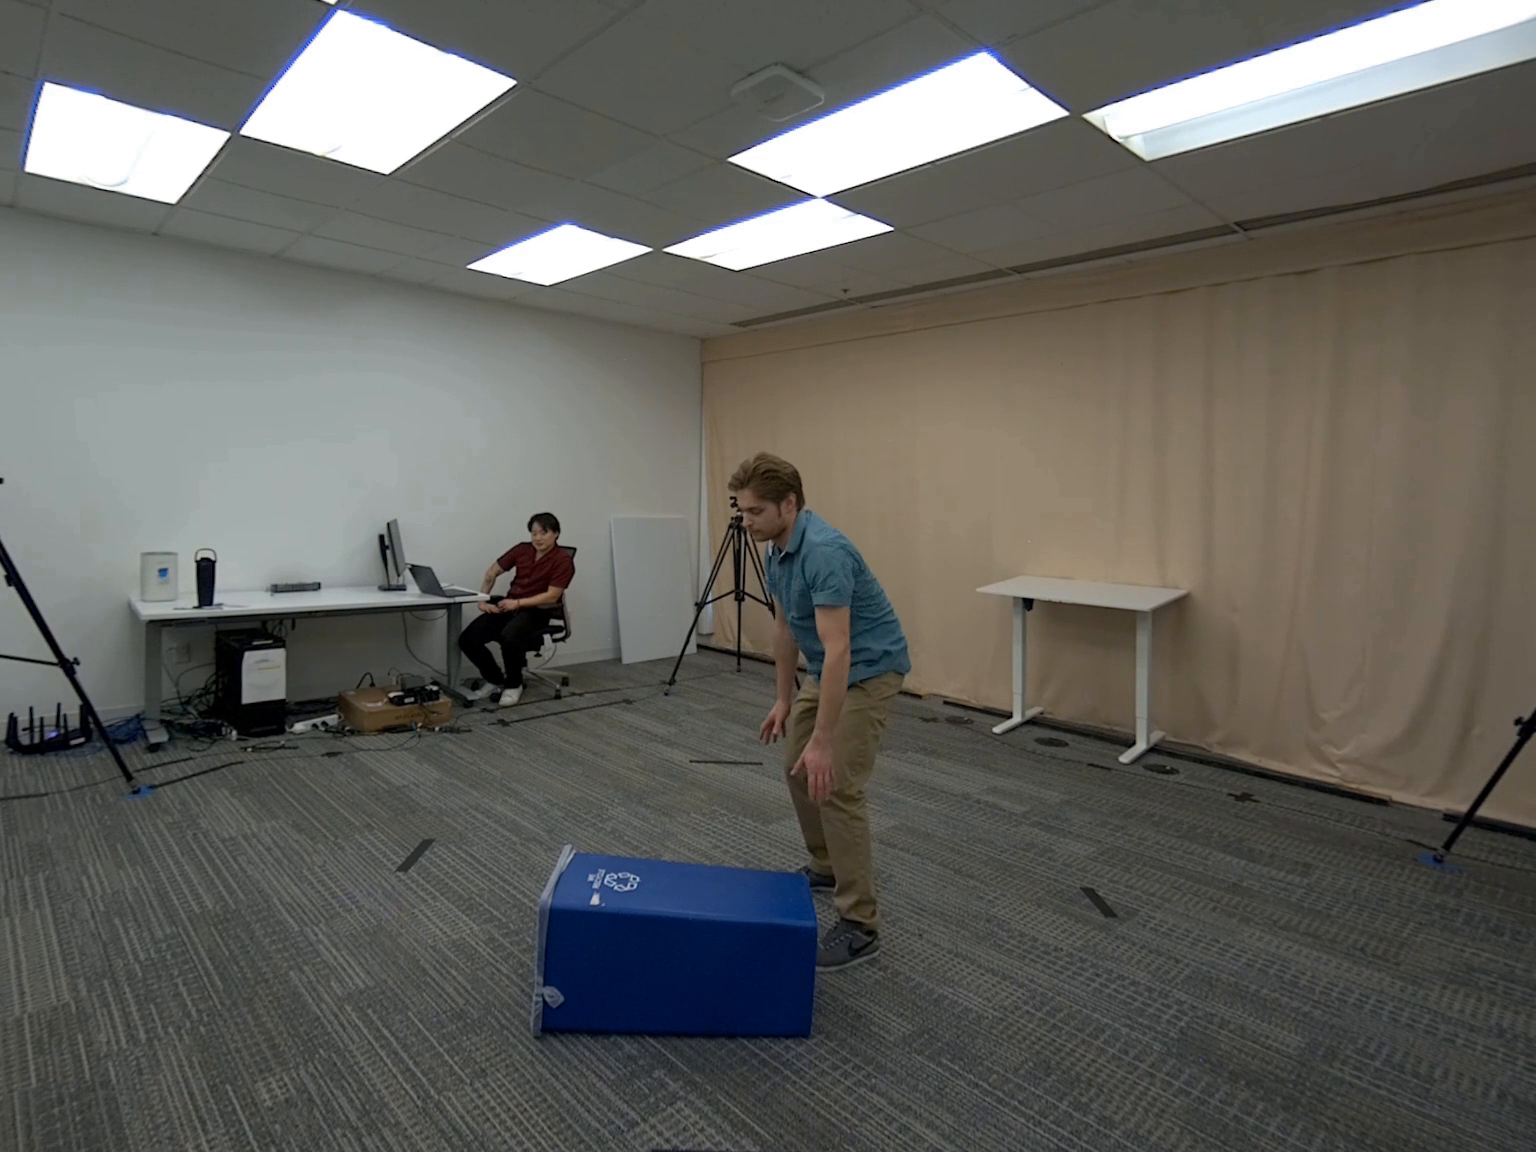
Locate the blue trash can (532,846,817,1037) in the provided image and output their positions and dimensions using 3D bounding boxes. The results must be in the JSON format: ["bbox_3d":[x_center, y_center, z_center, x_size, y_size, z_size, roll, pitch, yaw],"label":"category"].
[{"bbox_3d":[-0.252,1.011,2.306,0.713,0.377,0.375,4,4,-1],"label":"blue trash can"}]
